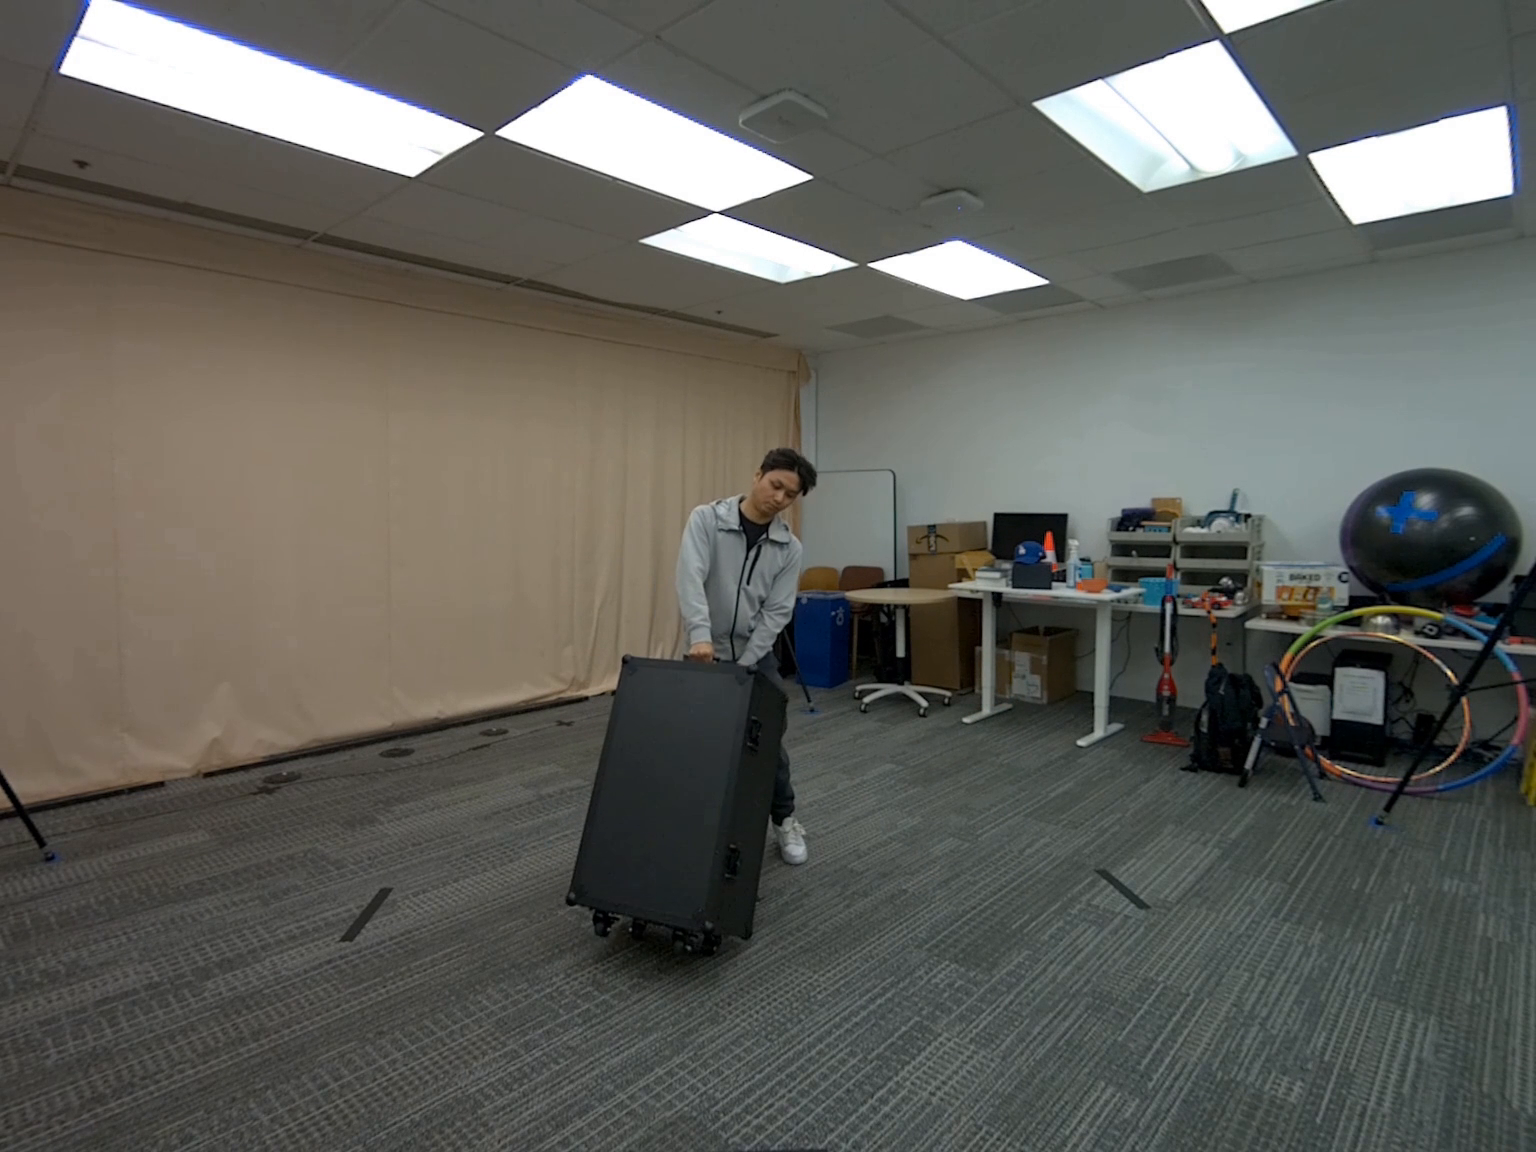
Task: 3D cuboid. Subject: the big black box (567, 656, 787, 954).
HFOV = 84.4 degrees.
[{"bbox_3d":[-0.276,0.737,2.737,0.533,0.869,0.384,1,-24,22],"label":"big black box"}]
